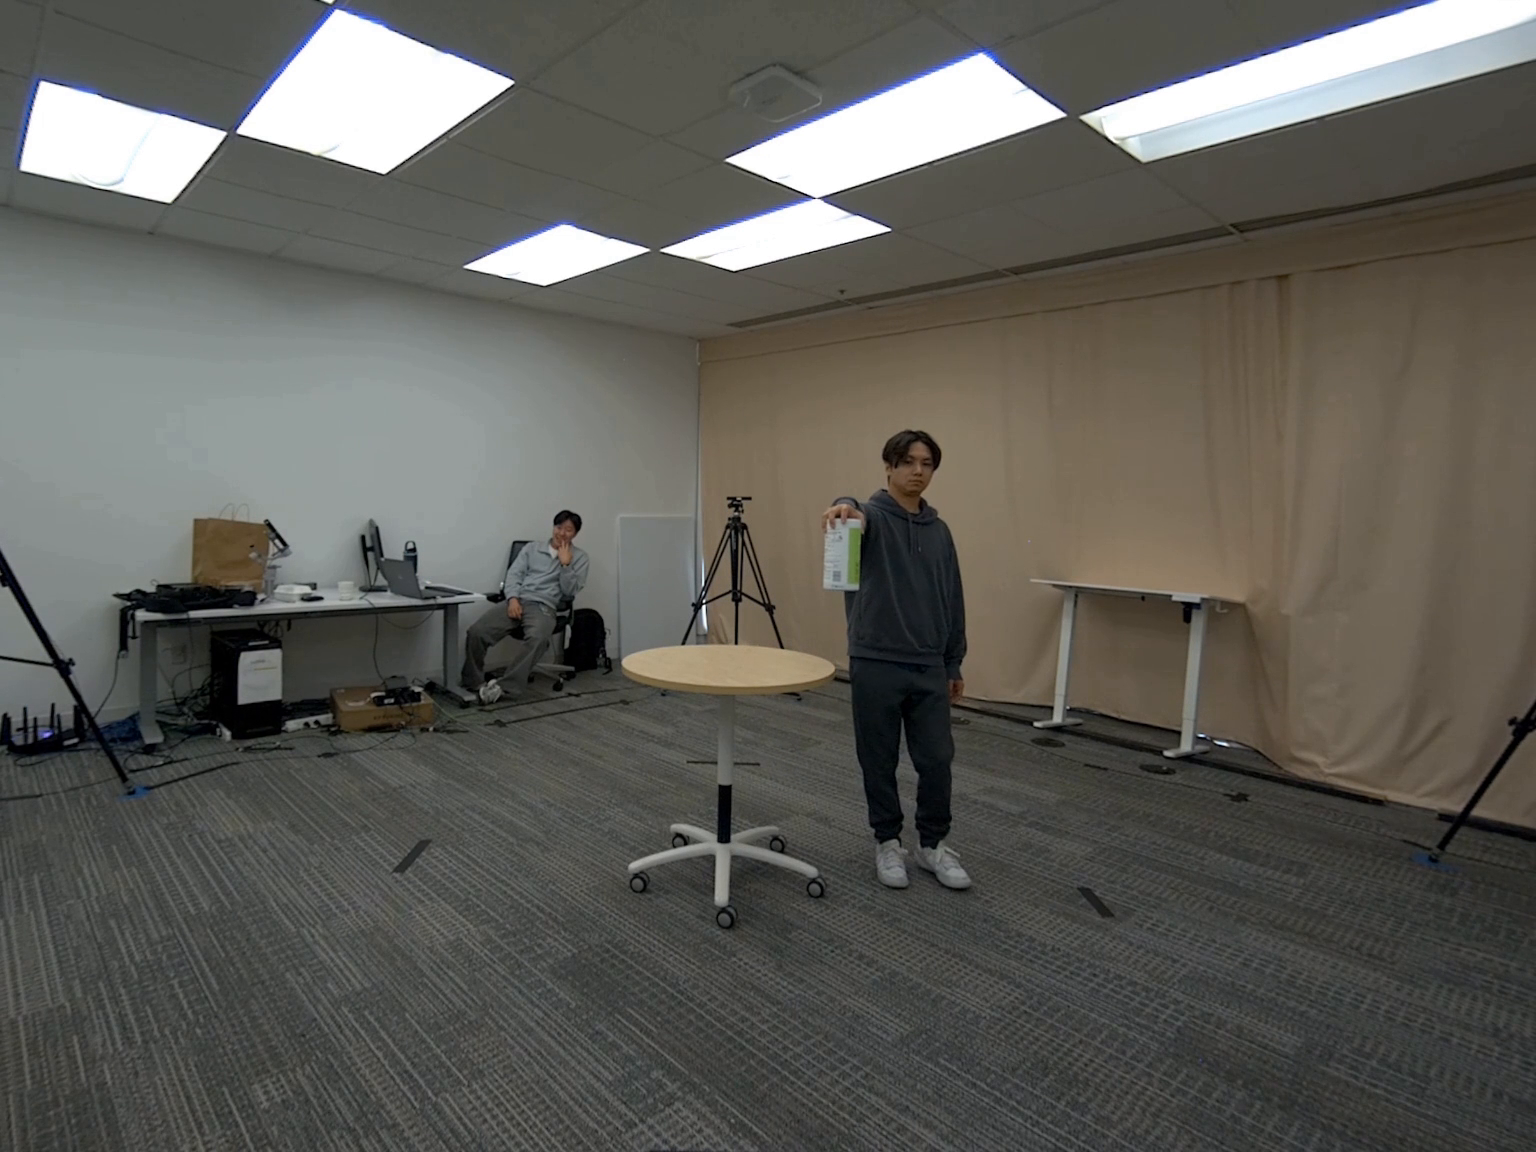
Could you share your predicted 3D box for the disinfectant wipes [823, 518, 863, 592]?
[{"bbox_3d":[0.218,-0.062,2.532,0.118,0.217,0.118,1,0,-1],"label":"disinfectant wipes"}]
